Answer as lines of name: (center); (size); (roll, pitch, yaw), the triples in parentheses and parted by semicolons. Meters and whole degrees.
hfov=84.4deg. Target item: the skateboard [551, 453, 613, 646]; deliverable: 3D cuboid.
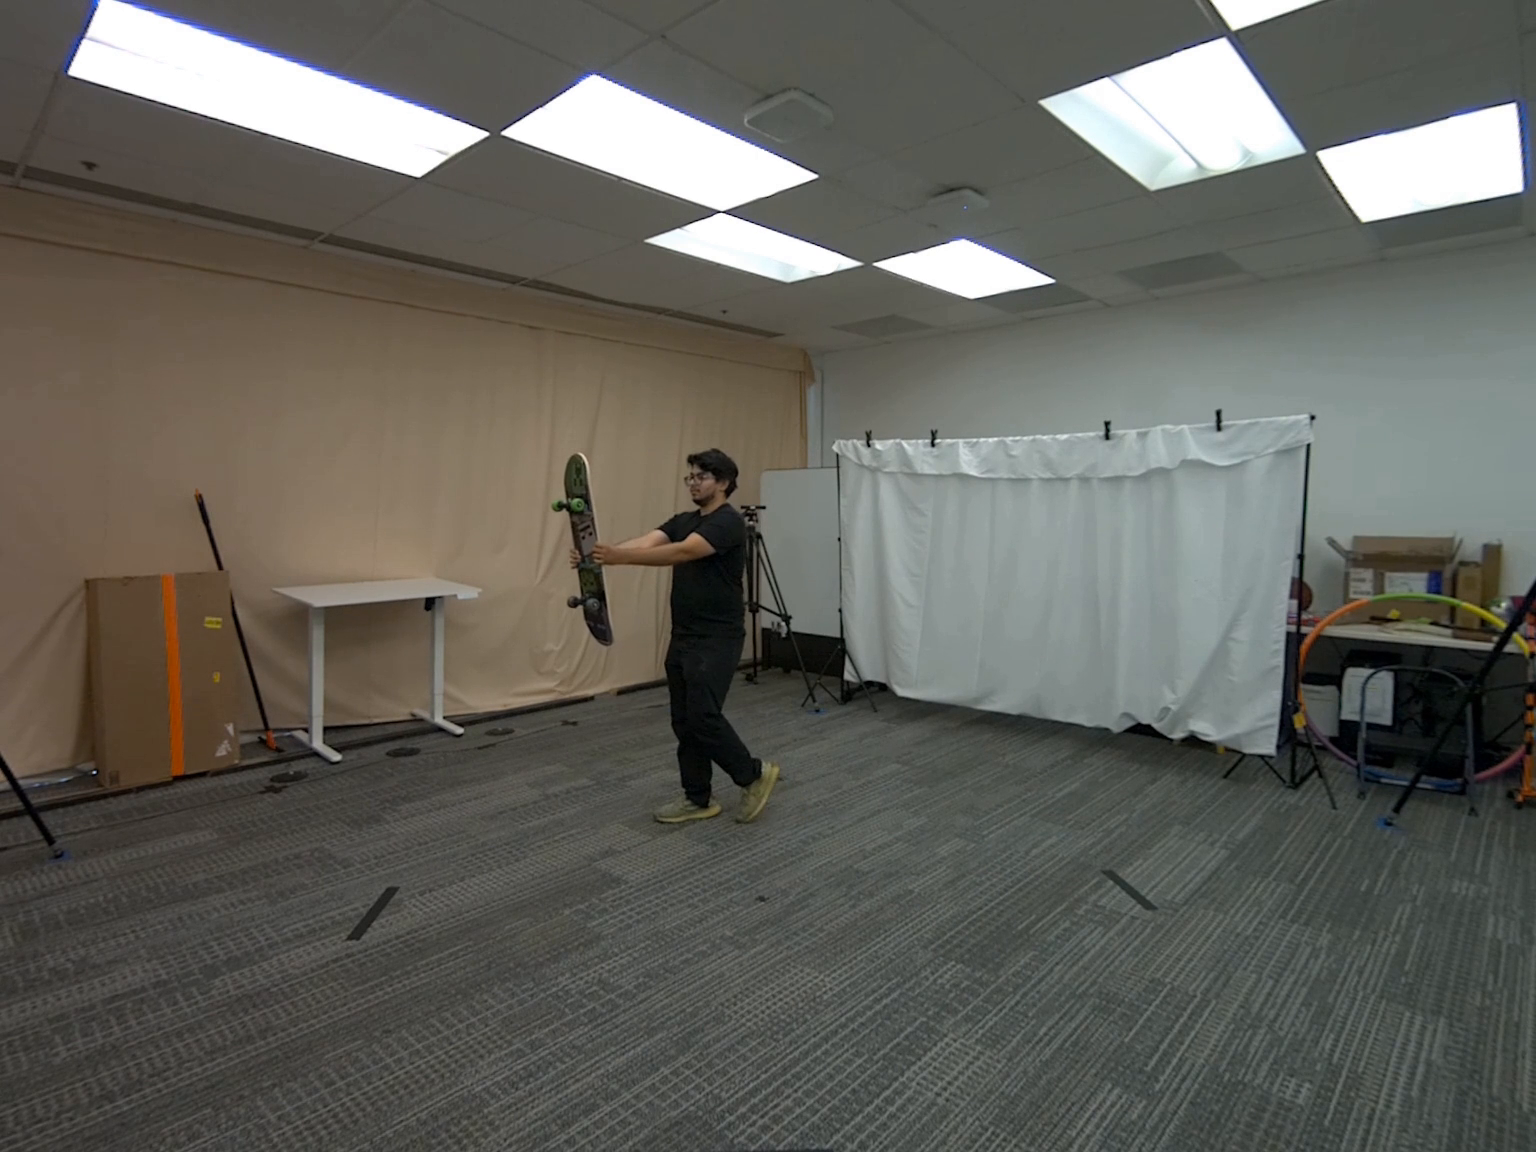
skateboard: (-0.739, -0.087, 3.364); (0.107, 0.780, 0.200); (-14, 11, -41)
